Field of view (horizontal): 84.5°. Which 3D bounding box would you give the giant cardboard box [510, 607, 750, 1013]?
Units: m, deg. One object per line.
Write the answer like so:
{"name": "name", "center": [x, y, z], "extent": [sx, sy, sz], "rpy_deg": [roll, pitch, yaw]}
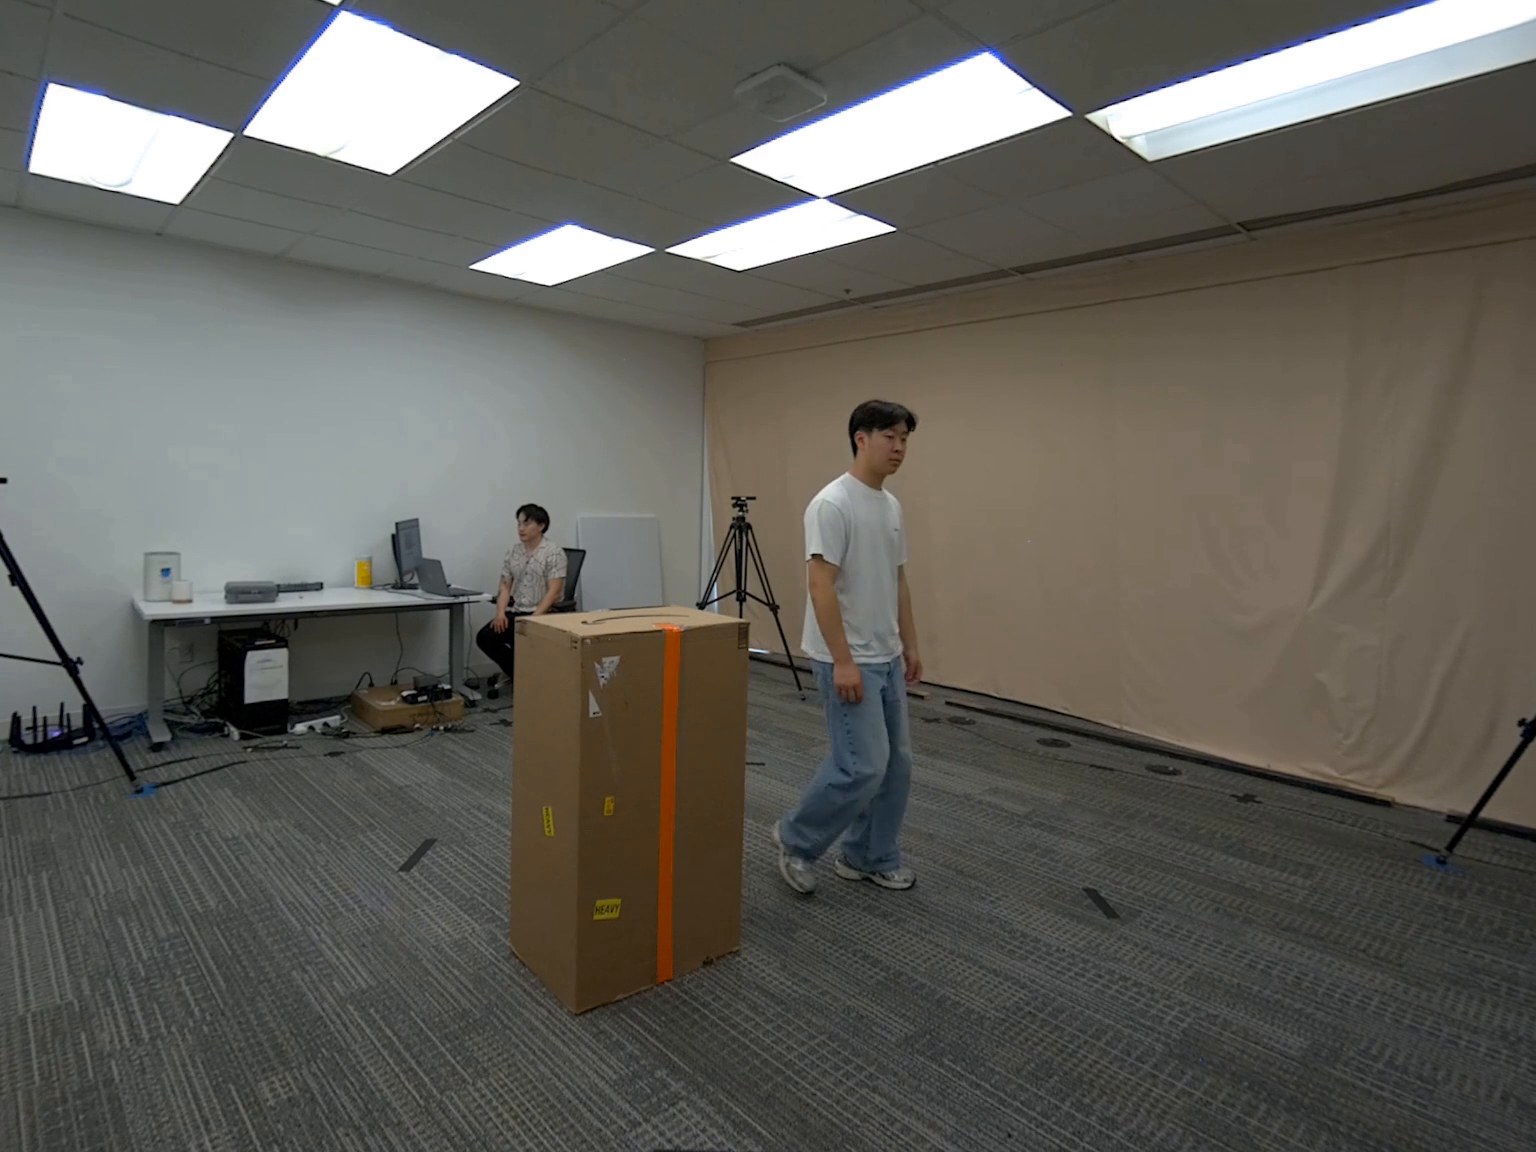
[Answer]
{"name": "giant cardboard box", "center": [-0.423, 0.642, 2.552], "extent": [0.564, 1.023, 0.437], "rpy_deg": [-1, 4, -39]}
